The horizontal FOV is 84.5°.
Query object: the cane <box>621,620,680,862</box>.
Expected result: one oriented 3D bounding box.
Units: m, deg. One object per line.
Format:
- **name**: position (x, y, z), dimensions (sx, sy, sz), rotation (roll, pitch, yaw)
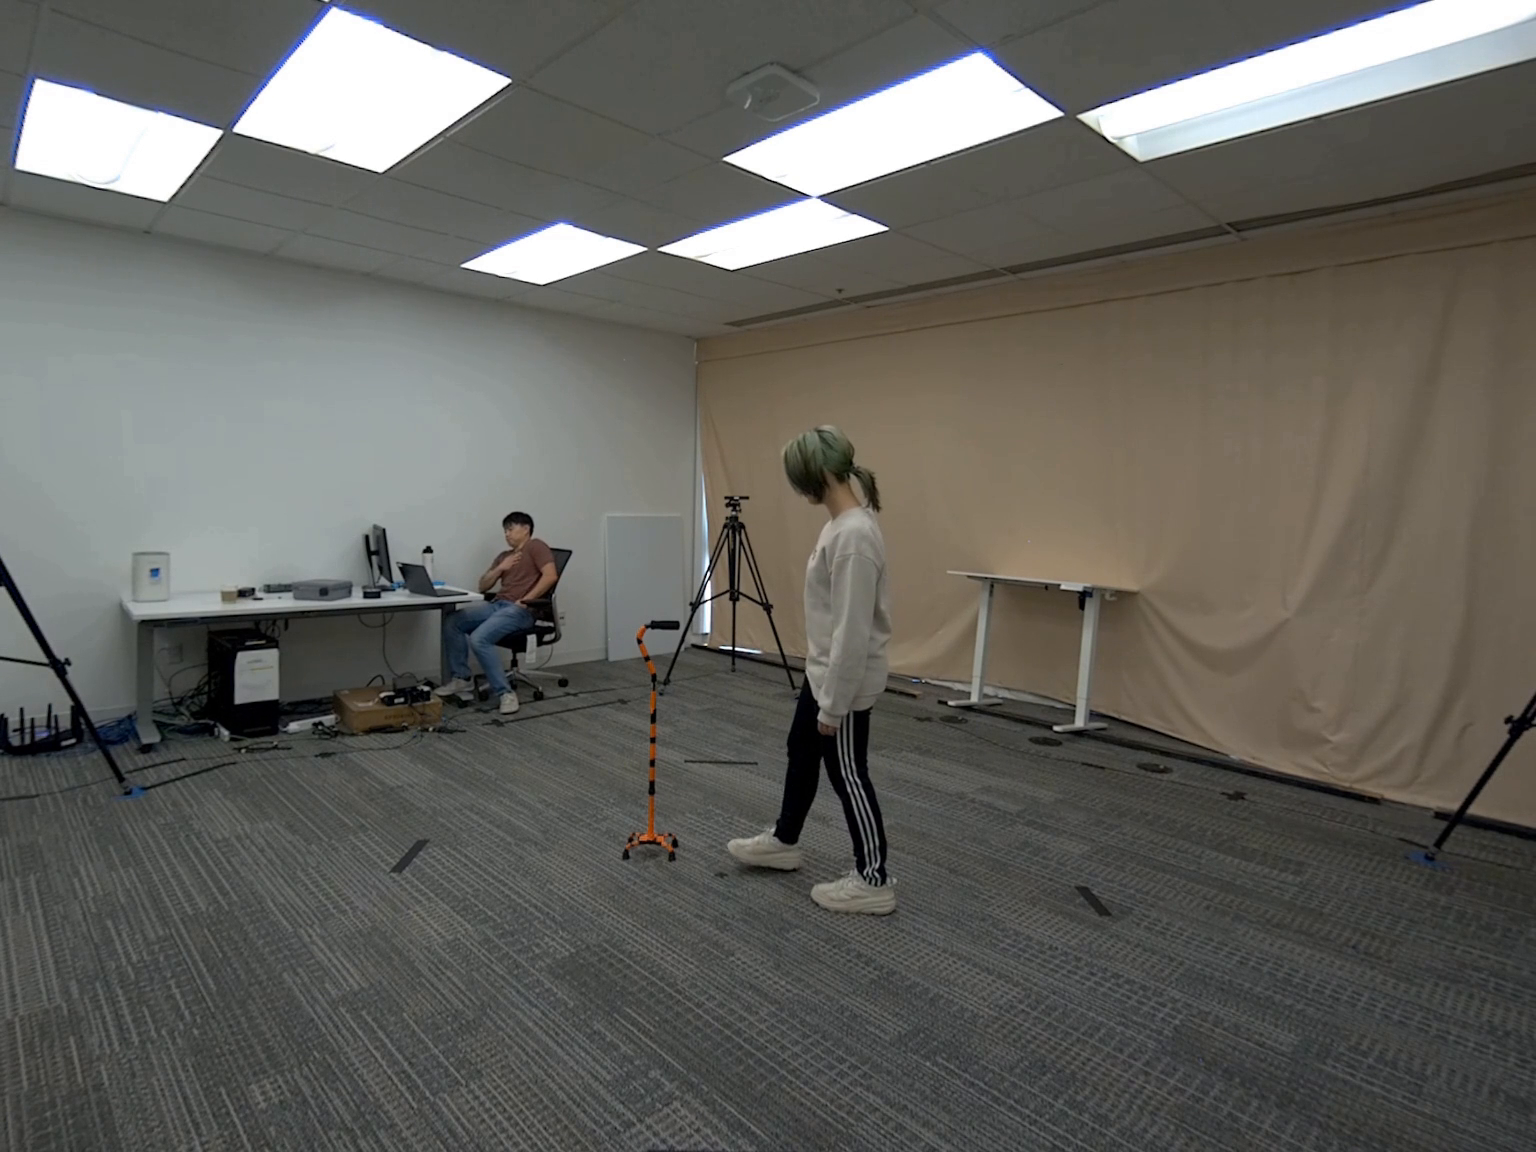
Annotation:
- **cane**: position (-0.457, 0.630, 3.262), dimensions (0.206, 0.906, 0.152), rotation (0, 3, 0)
